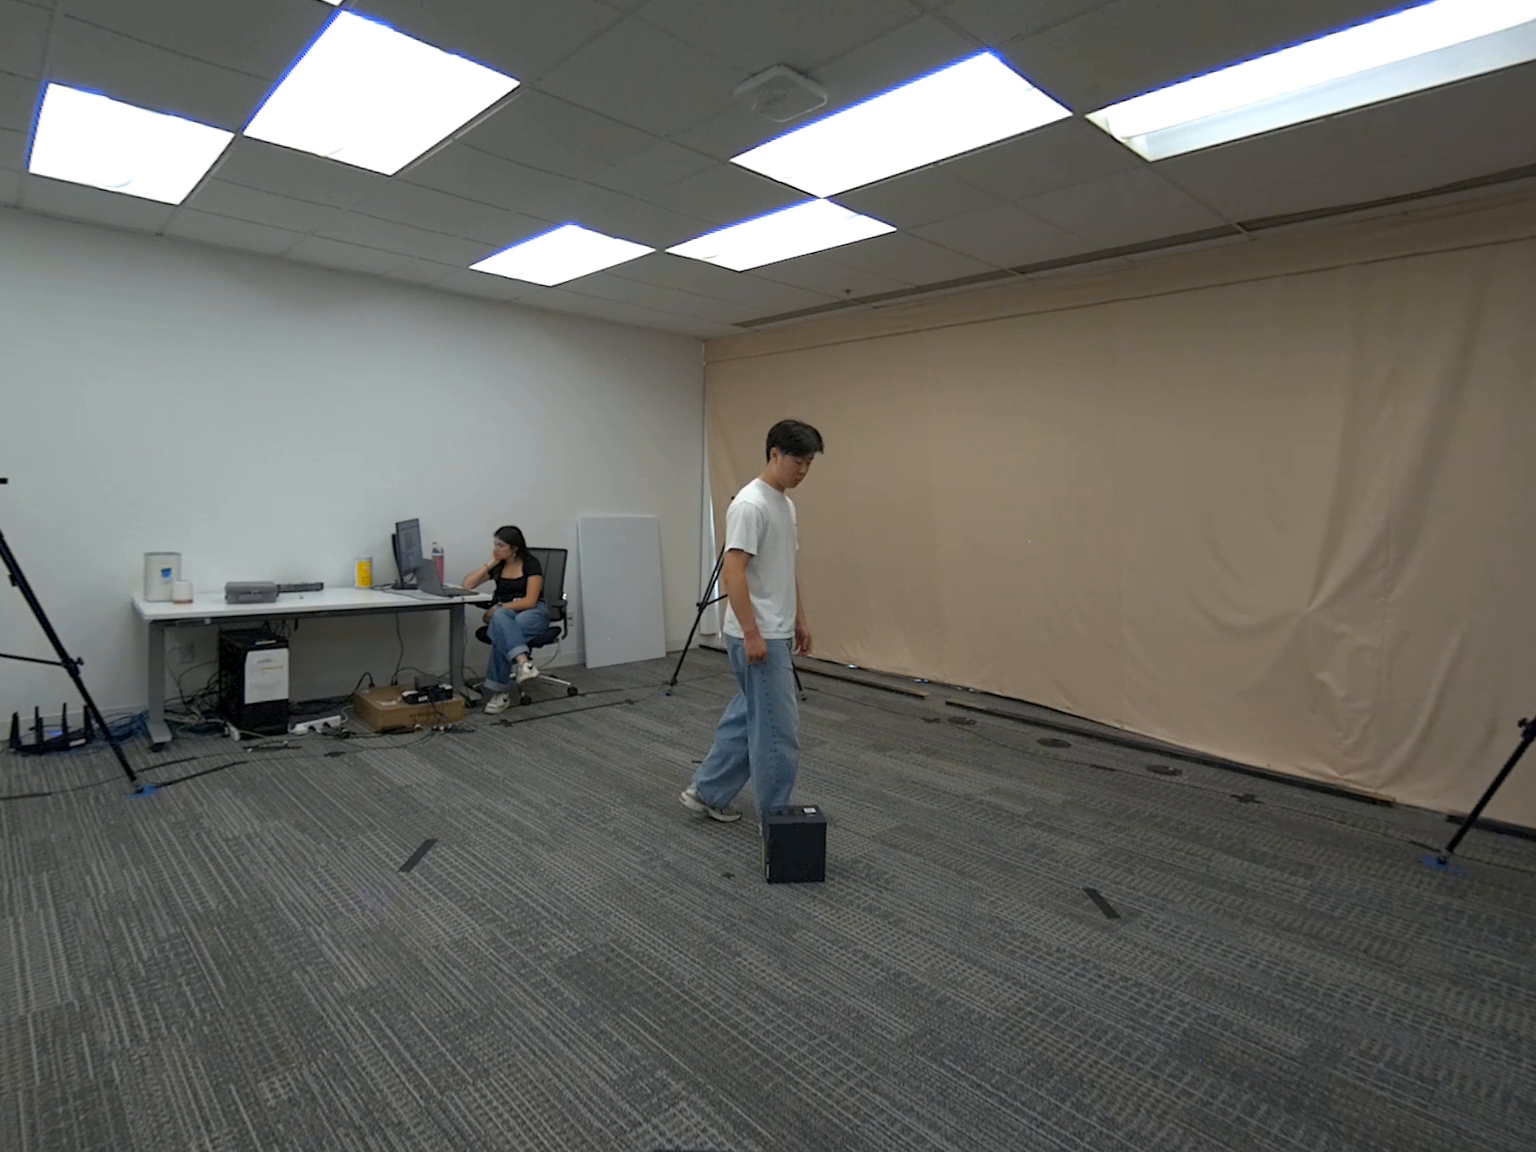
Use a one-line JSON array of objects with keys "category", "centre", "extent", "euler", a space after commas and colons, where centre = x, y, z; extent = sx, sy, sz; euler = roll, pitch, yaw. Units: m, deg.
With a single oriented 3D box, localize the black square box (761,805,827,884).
[{"category": "black square box", "centre": [0.084, 0.992, 3.114], "extent": [0.215, 0.227, 0.157], "euler": [1, 5, -8]}]
